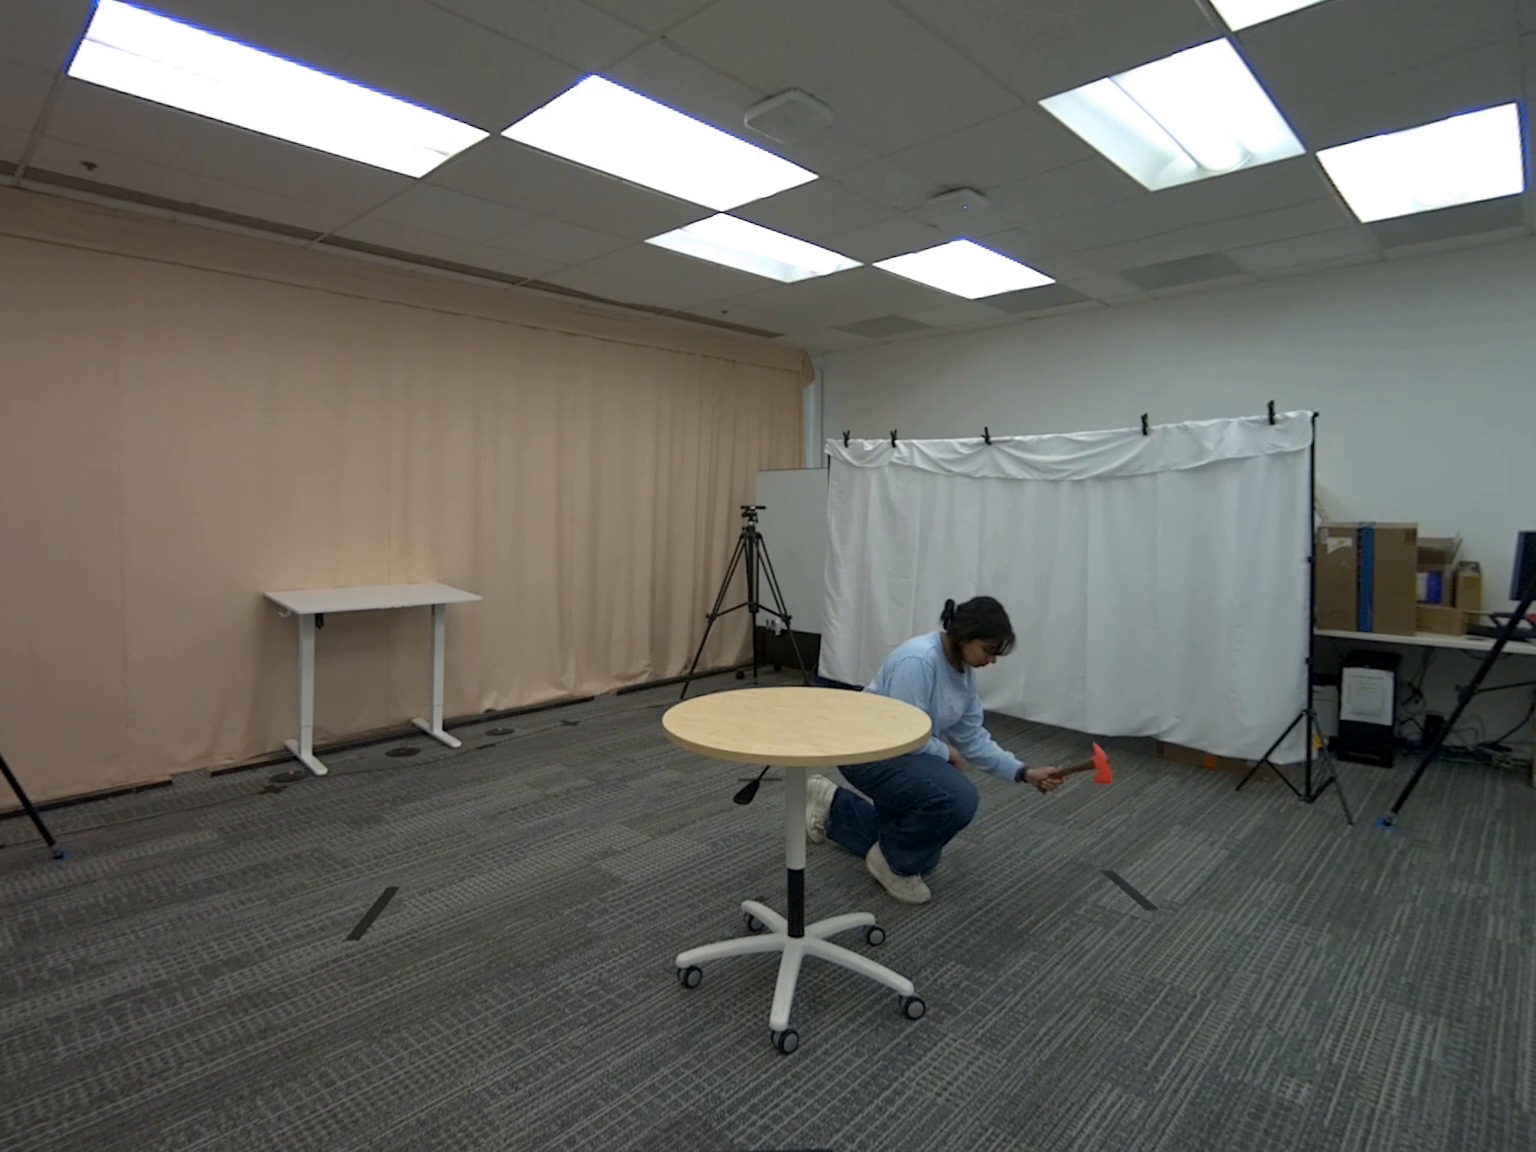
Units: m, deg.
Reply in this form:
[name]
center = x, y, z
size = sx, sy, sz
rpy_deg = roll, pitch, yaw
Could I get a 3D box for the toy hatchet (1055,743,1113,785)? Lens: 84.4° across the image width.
[toy hatchet]
center = 1.076, 0.701, 2.895
size = 0.272, 0.134, 0.028
rpy_deg = -46, -29, 24
